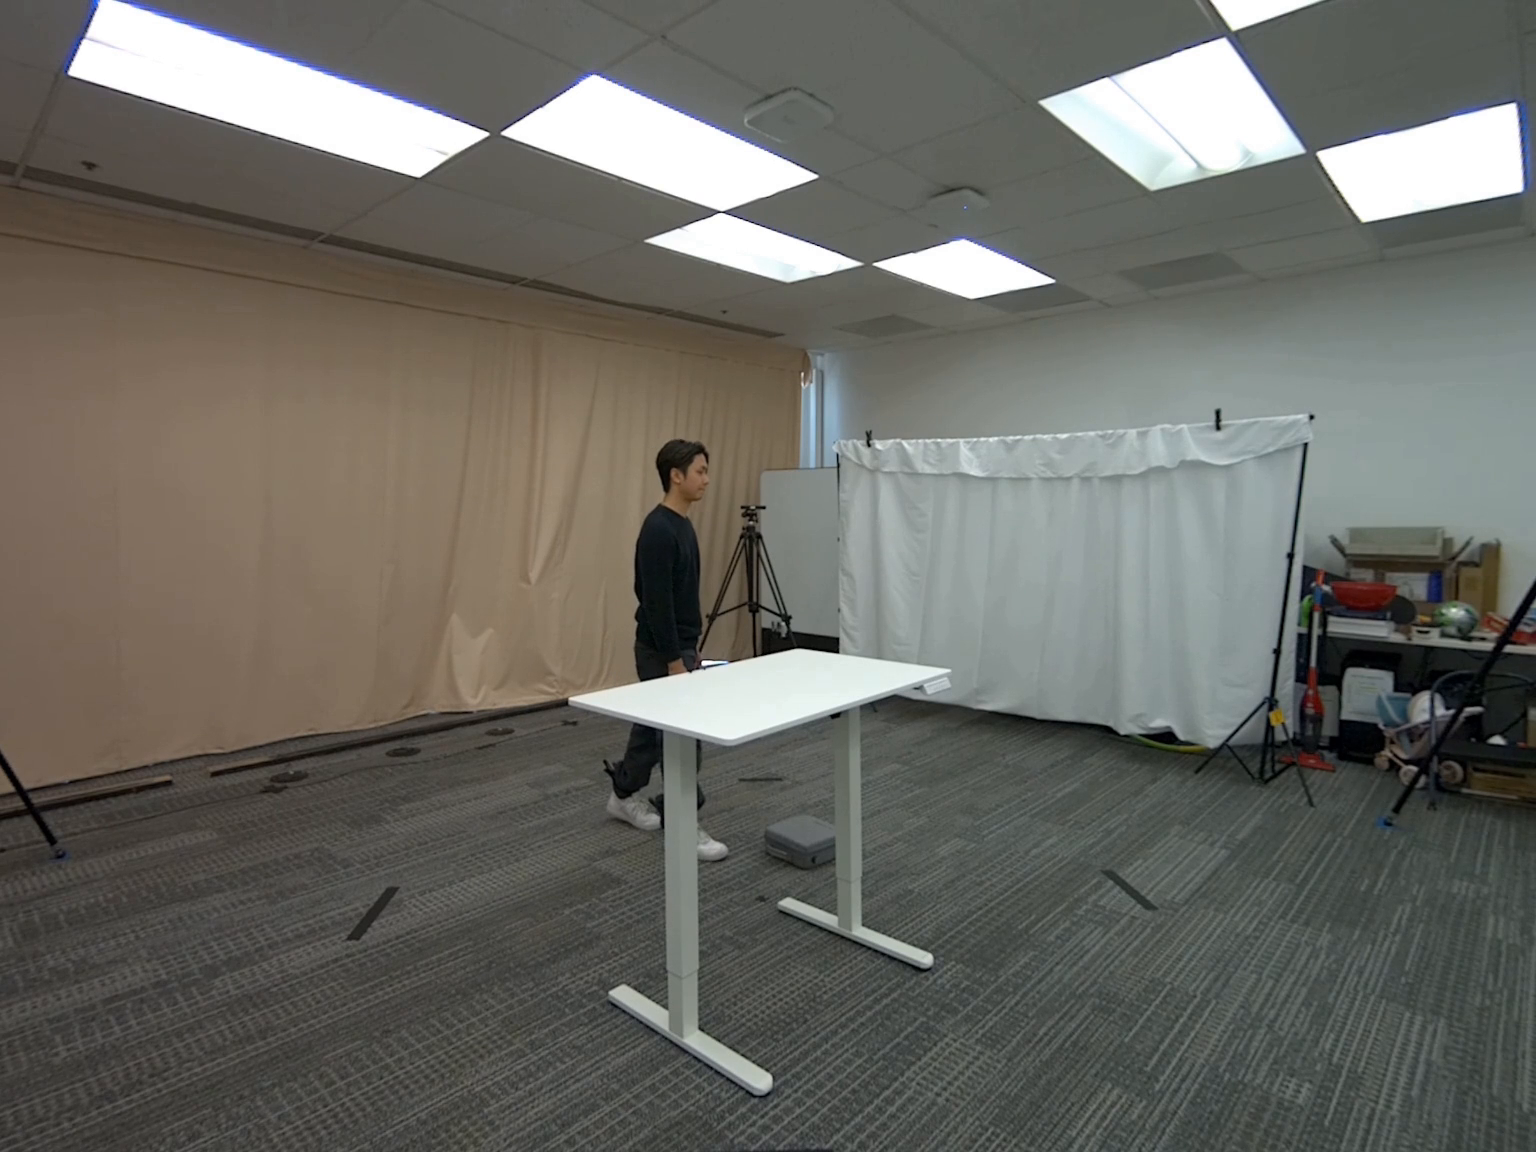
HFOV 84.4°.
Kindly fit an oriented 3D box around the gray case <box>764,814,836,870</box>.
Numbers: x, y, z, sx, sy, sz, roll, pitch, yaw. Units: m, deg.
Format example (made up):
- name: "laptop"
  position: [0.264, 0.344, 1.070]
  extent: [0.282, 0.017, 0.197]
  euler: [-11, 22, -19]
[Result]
- name: "gray case"
  position: [0.149, 1.051, 3.360]
  extent: [0.253, 0.104, 0.266]
  euler: [-5, 9, -41]
